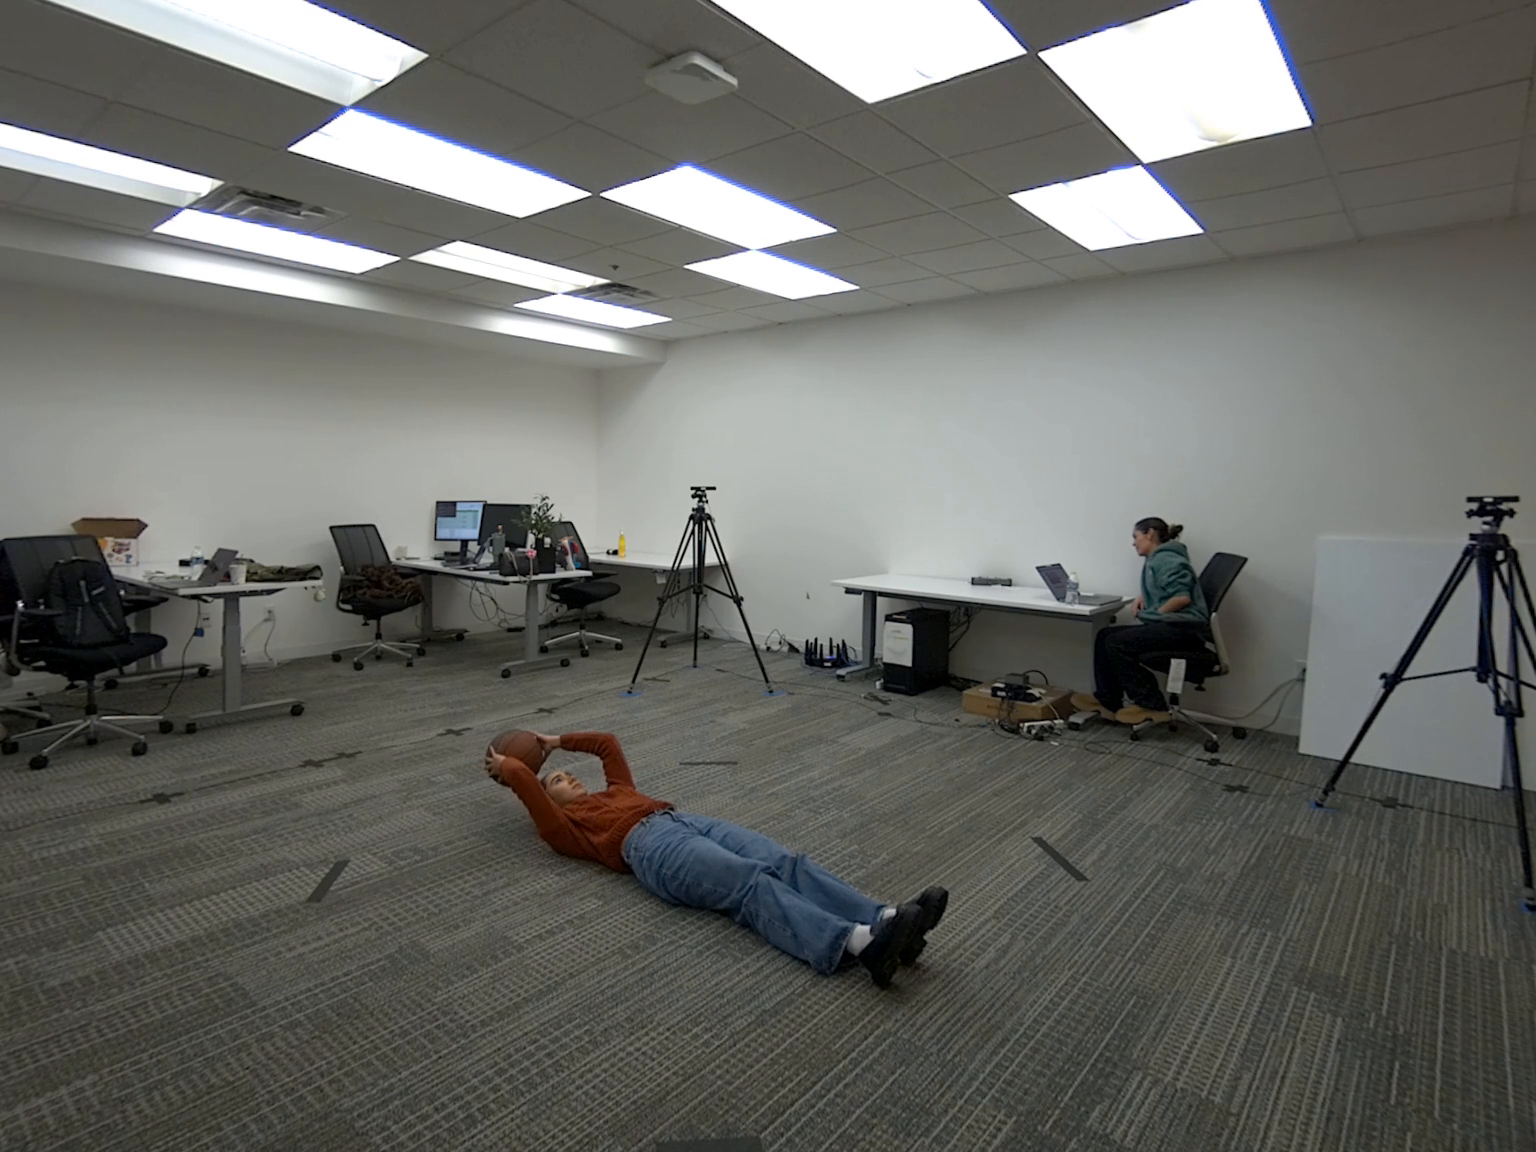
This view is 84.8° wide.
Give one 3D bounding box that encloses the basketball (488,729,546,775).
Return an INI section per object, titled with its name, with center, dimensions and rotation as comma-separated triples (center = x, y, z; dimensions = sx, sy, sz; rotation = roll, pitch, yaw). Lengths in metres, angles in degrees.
[basketball]
center = -1.074, 0.753, 3.567
dimensions = 0.236, 0.235, 0.237
rotation = -3, 3, -2
